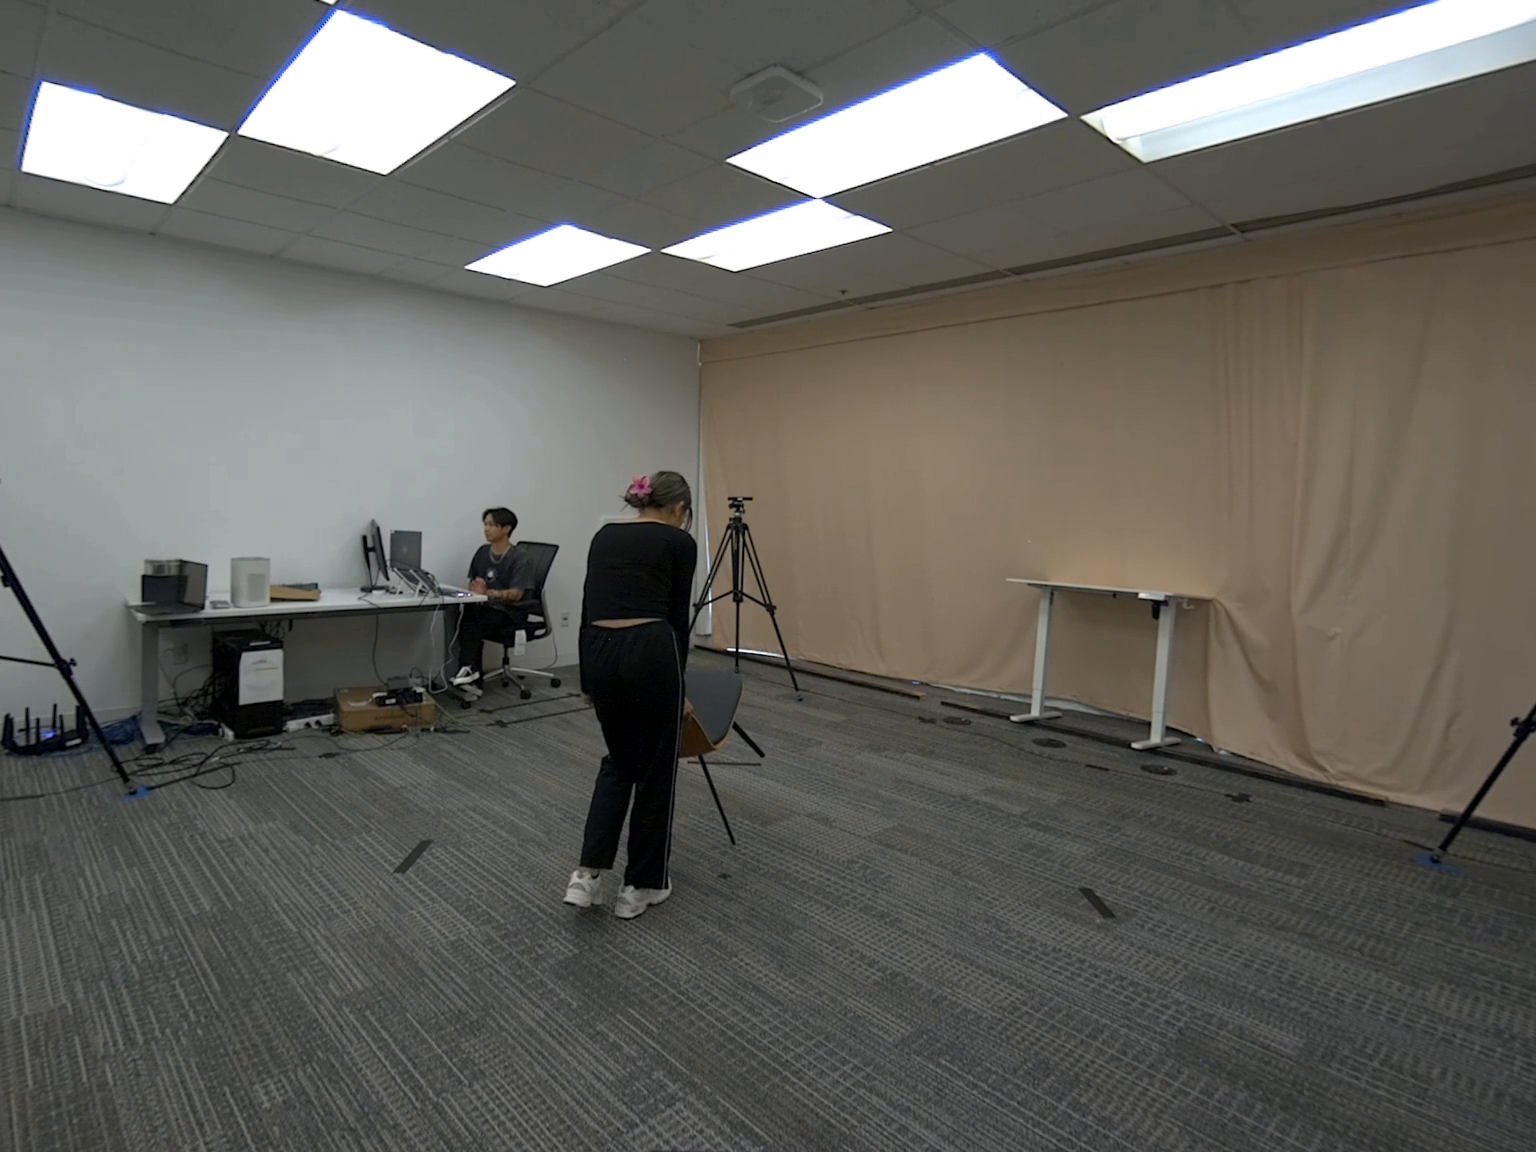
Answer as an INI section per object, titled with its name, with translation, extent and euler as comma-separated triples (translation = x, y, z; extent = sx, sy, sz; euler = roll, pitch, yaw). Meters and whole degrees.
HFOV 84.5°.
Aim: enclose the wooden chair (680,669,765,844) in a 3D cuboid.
[wooden chair]
translation = -0.360, 0.593, 3.382
extent = 0.486, 0.853, 0.528
euler = 4, 45, 21
